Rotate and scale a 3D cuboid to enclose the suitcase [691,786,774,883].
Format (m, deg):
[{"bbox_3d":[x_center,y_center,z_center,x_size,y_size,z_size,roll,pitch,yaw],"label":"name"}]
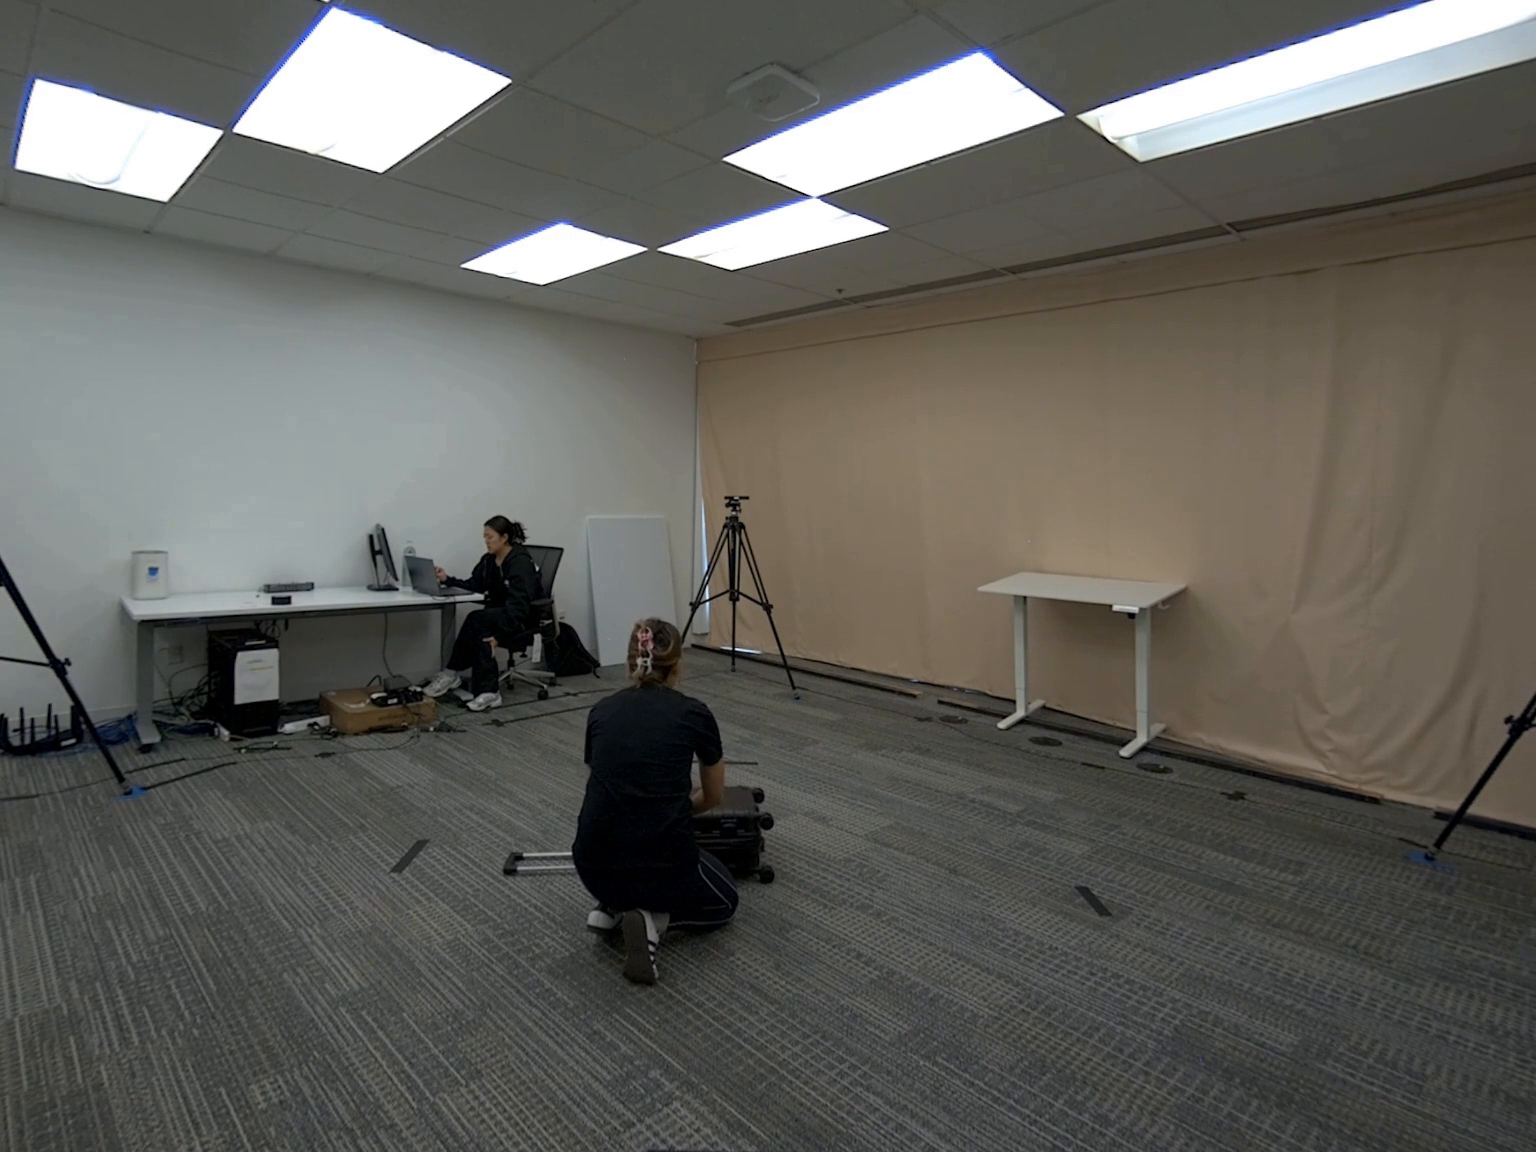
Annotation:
[{"bbox_3d":[-0.482,0.960,3.166,0.975,0.257,0.386,2,3,-5],"label":"suitcase"}]
